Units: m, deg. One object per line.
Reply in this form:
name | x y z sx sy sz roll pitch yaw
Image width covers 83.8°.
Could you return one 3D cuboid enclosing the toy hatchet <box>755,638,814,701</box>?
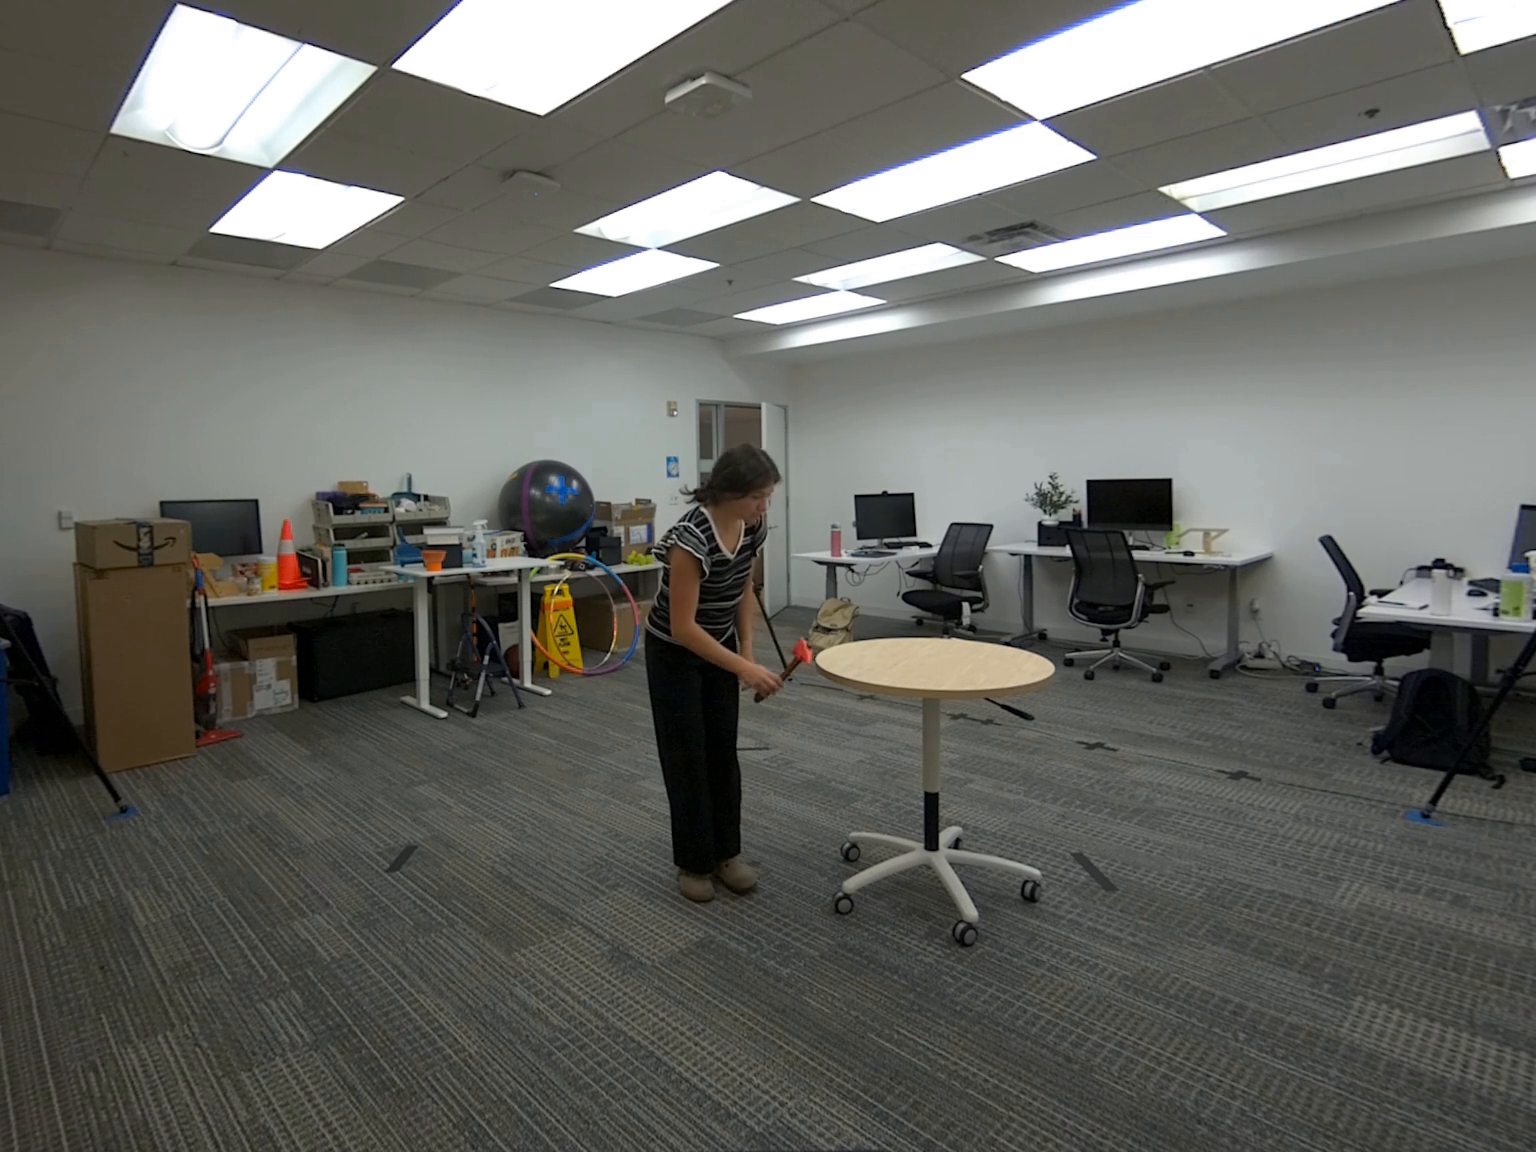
toy hatchet | 0.049 0.298 2.649 0.029 0.134 0.271 32 -52 -24
